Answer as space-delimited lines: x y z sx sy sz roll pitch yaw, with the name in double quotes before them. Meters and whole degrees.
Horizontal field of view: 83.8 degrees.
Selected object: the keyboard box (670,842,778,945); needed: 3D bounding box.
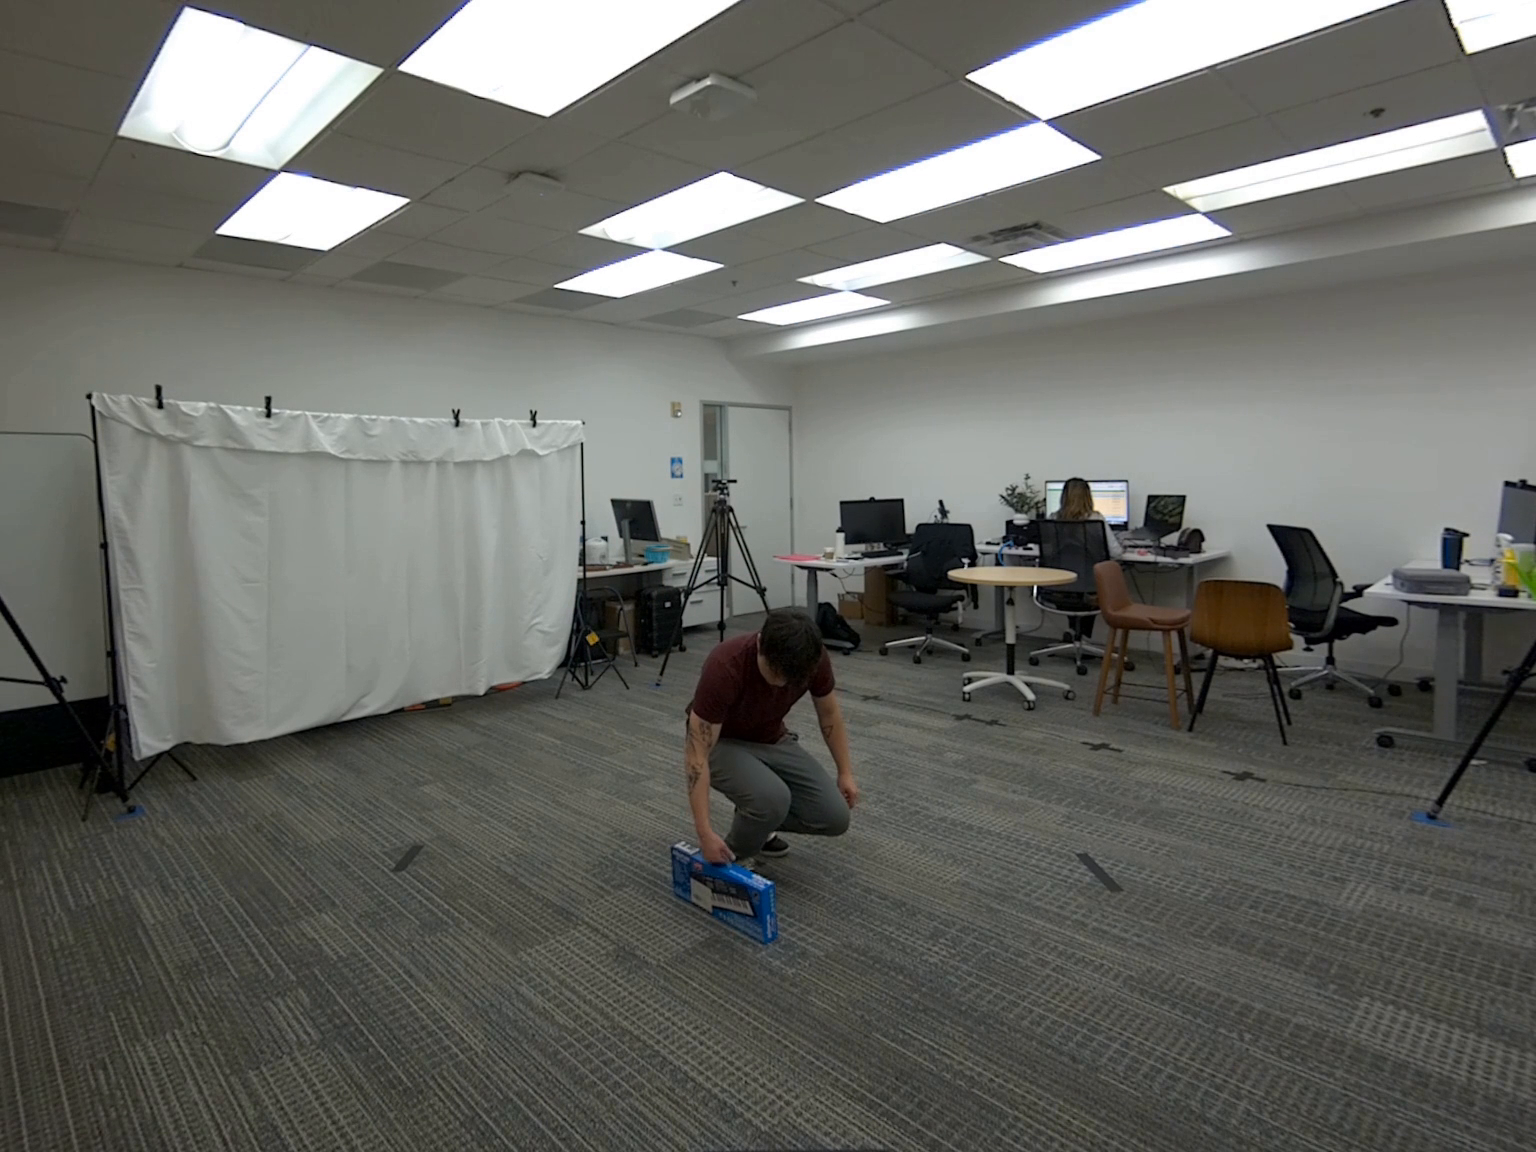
"keyboard box" -0.146 1.006 2.736 0.058 0.175 0.450 -10 10 -43
